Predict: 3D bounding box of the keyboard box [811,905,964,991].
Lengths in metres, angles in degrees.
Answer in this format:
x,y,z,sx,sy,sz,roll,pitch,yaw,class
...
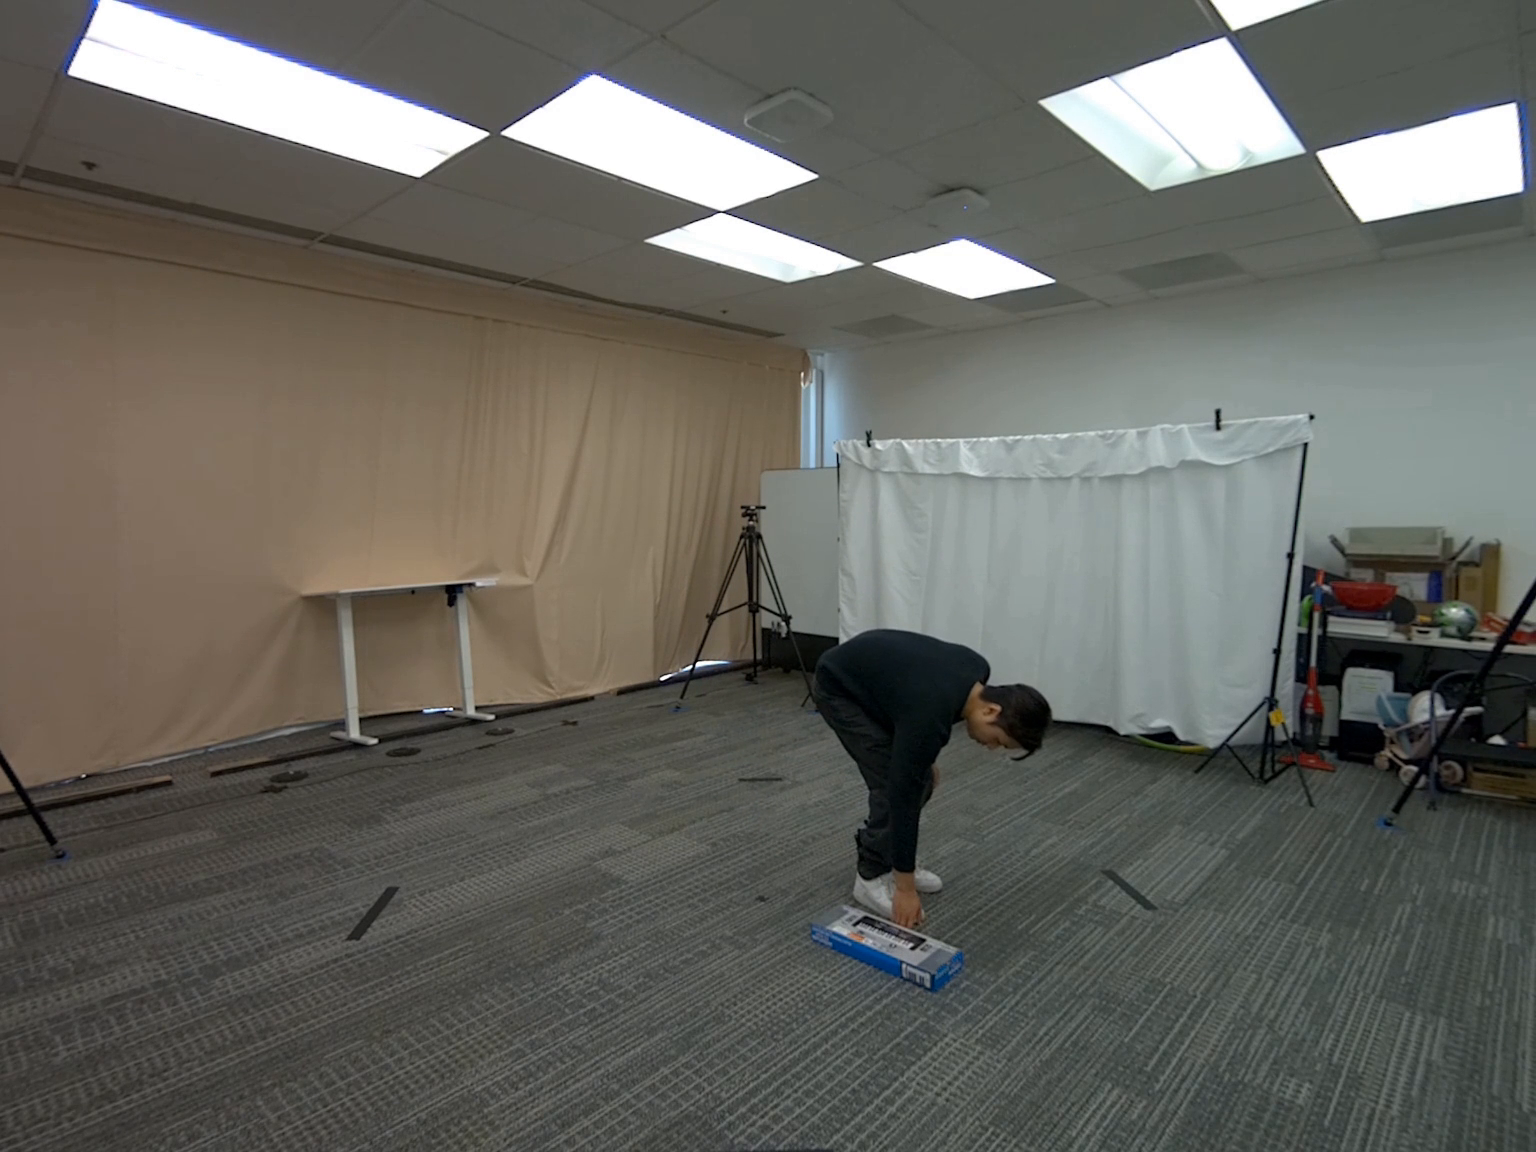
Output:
x,y,z,sx,sy,sz,roll,pitch,yaw,class
0.362,1.144,2.611,0.451,0.059,0.171,4,7,42,keyboard box
